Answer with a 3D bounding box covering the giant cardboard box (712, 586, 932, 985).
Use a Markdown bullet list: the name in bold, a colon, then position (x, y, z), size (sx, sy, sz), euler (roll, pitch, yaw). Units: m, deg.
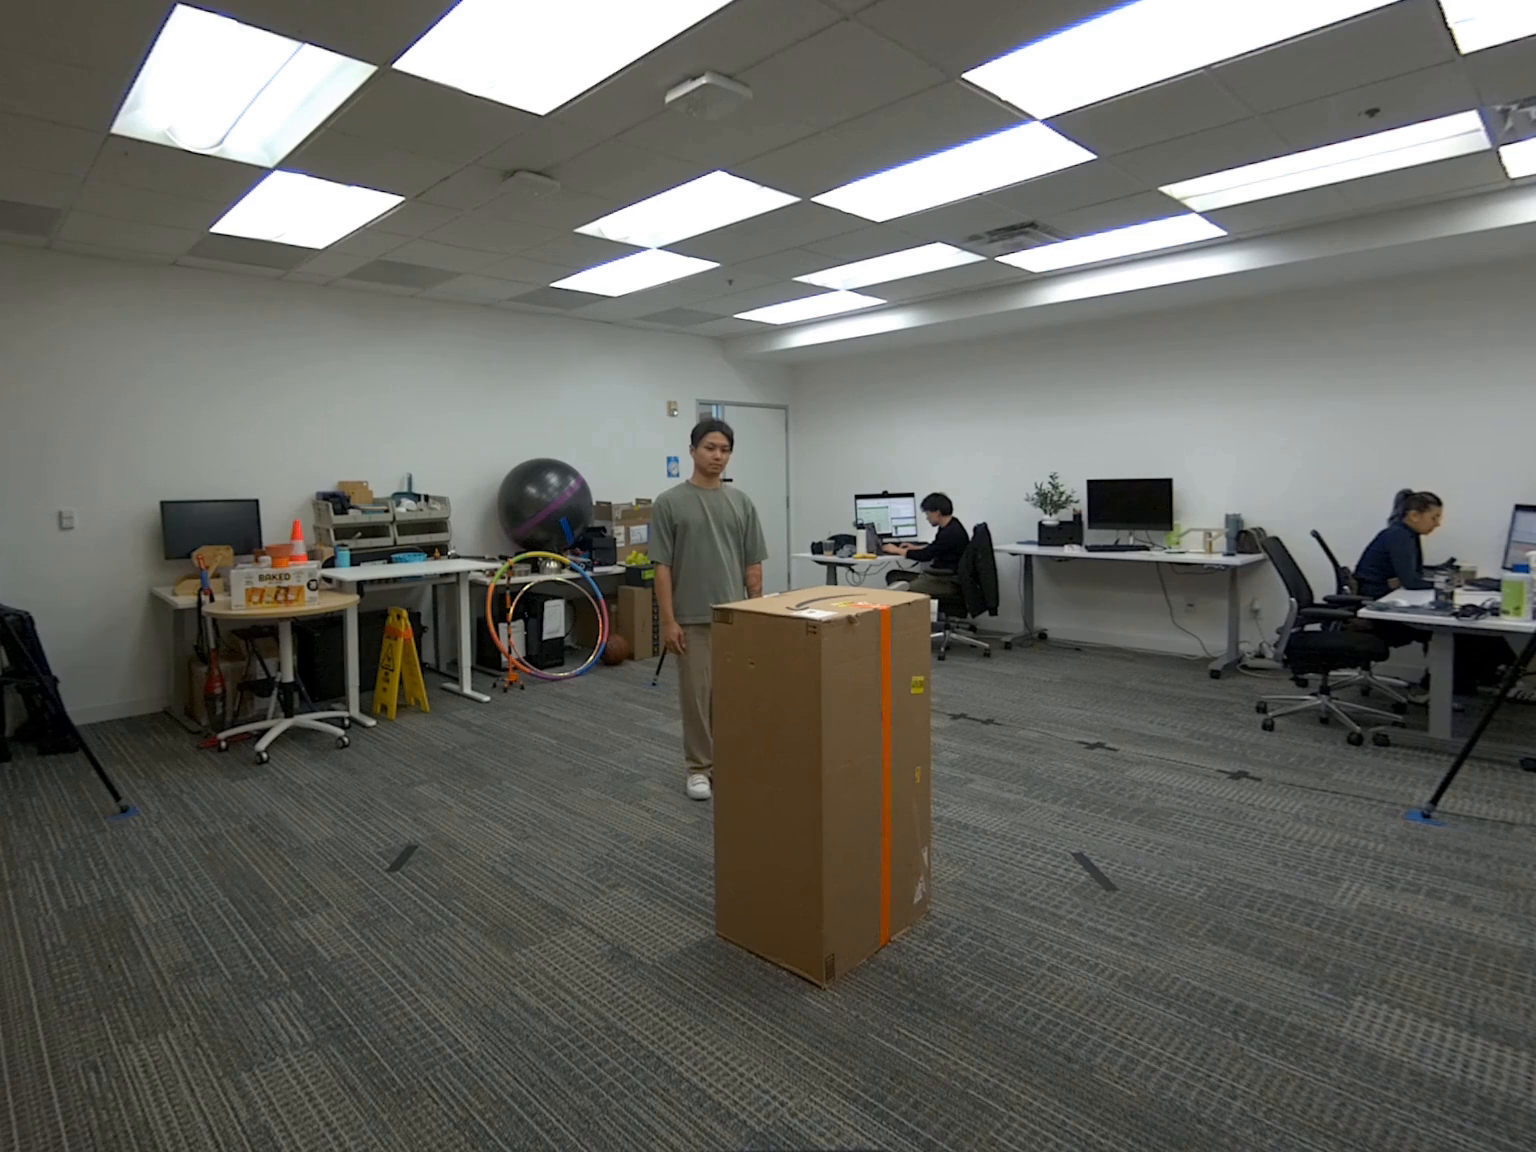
- **giant cardboard box**: position (0.183, 0.585, 2.650), size (0.439, 1.022, 0.562), euler (3, 6, 41)
